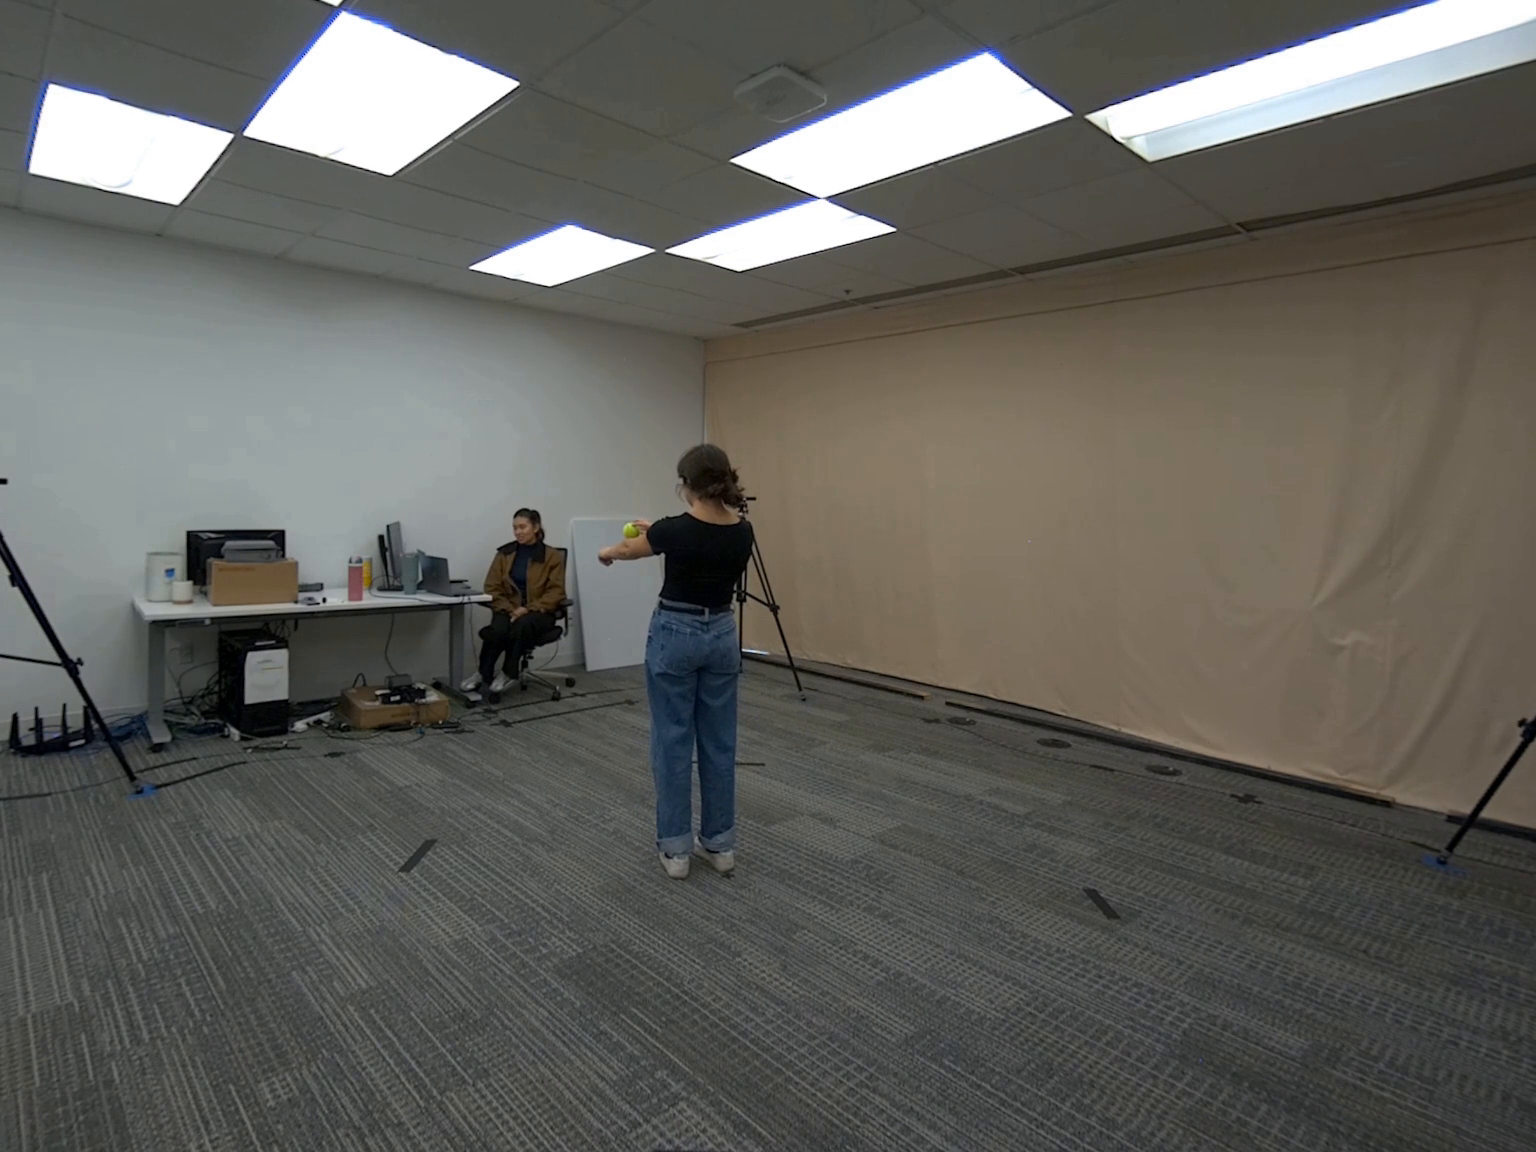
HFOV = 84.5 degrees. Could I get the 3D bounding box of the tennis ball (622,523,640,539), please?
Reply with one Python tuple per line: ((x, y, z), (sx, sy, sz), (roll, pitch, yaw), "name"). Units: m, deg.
((-0.507, -0.166, 3.278), (0.066, 0.066, 0.067), (1, 4, -1), "tennis ball")
